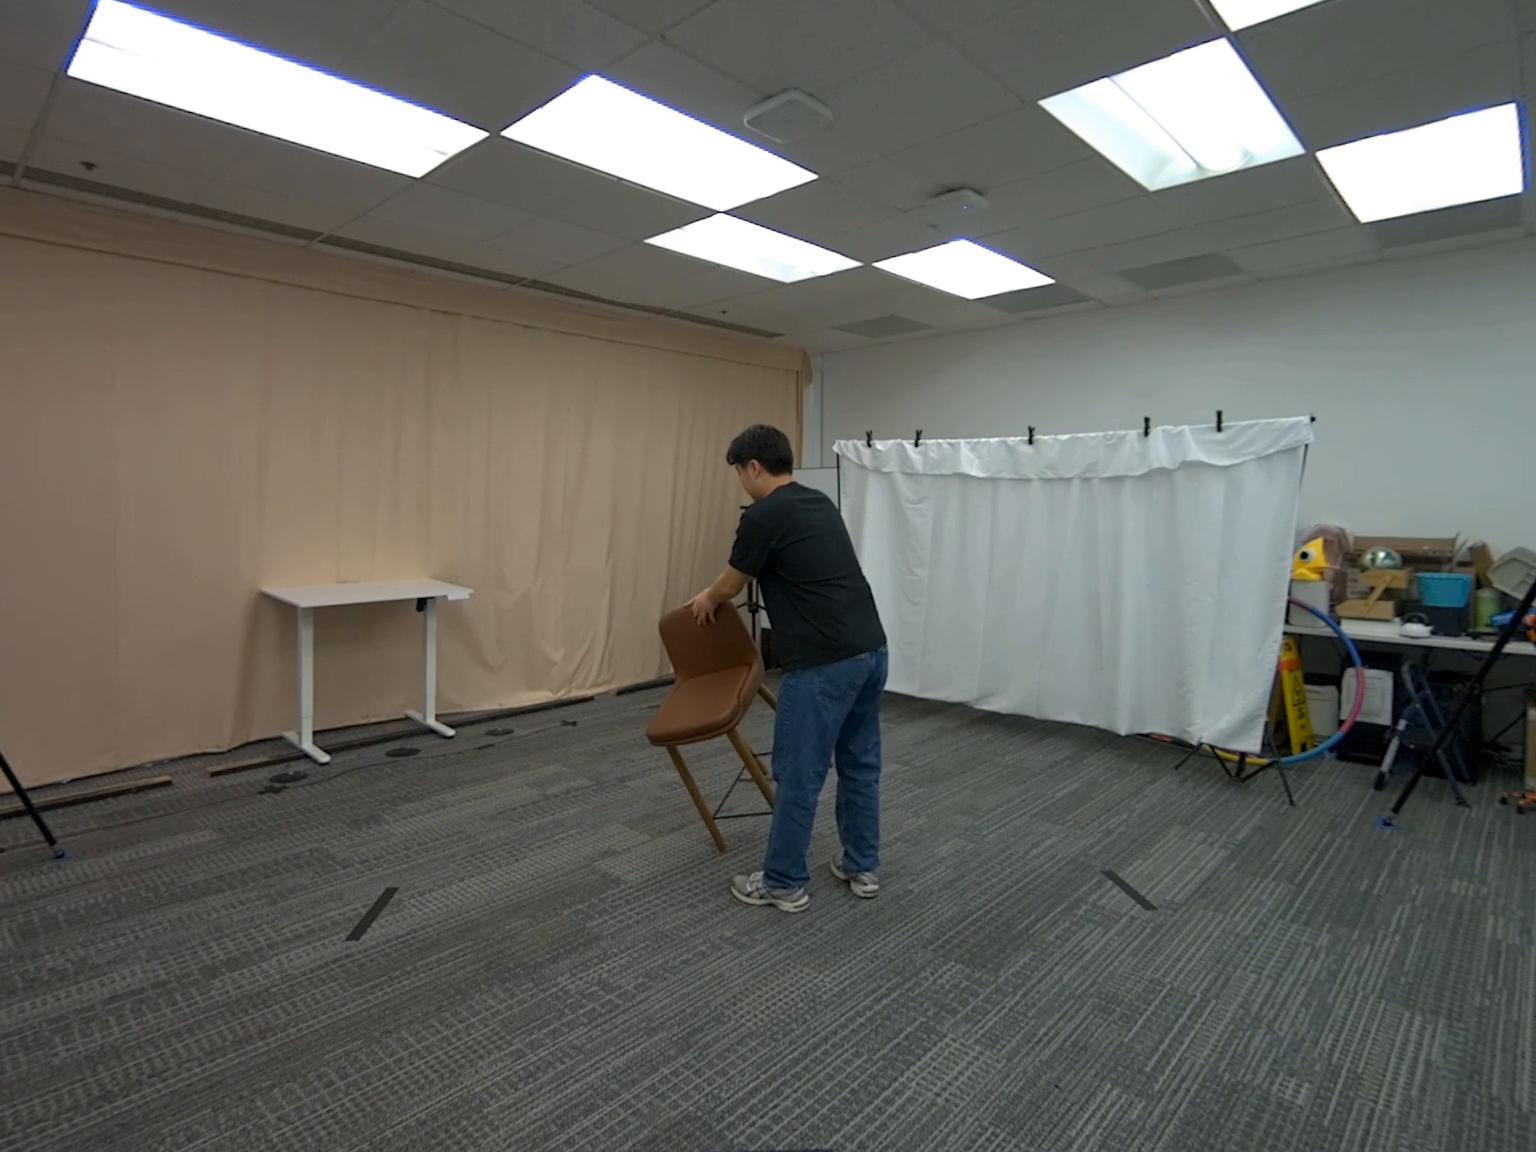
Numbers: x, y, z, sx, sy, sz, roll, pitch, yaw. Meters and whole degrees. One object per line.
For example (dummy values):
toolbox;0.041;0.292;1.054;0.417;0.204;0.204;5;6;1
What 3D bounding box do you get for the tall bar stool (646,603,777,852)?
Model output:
tall bar stool;-0.165;0.591;3.327;0.467;0.876;0.464;-18;19;36
